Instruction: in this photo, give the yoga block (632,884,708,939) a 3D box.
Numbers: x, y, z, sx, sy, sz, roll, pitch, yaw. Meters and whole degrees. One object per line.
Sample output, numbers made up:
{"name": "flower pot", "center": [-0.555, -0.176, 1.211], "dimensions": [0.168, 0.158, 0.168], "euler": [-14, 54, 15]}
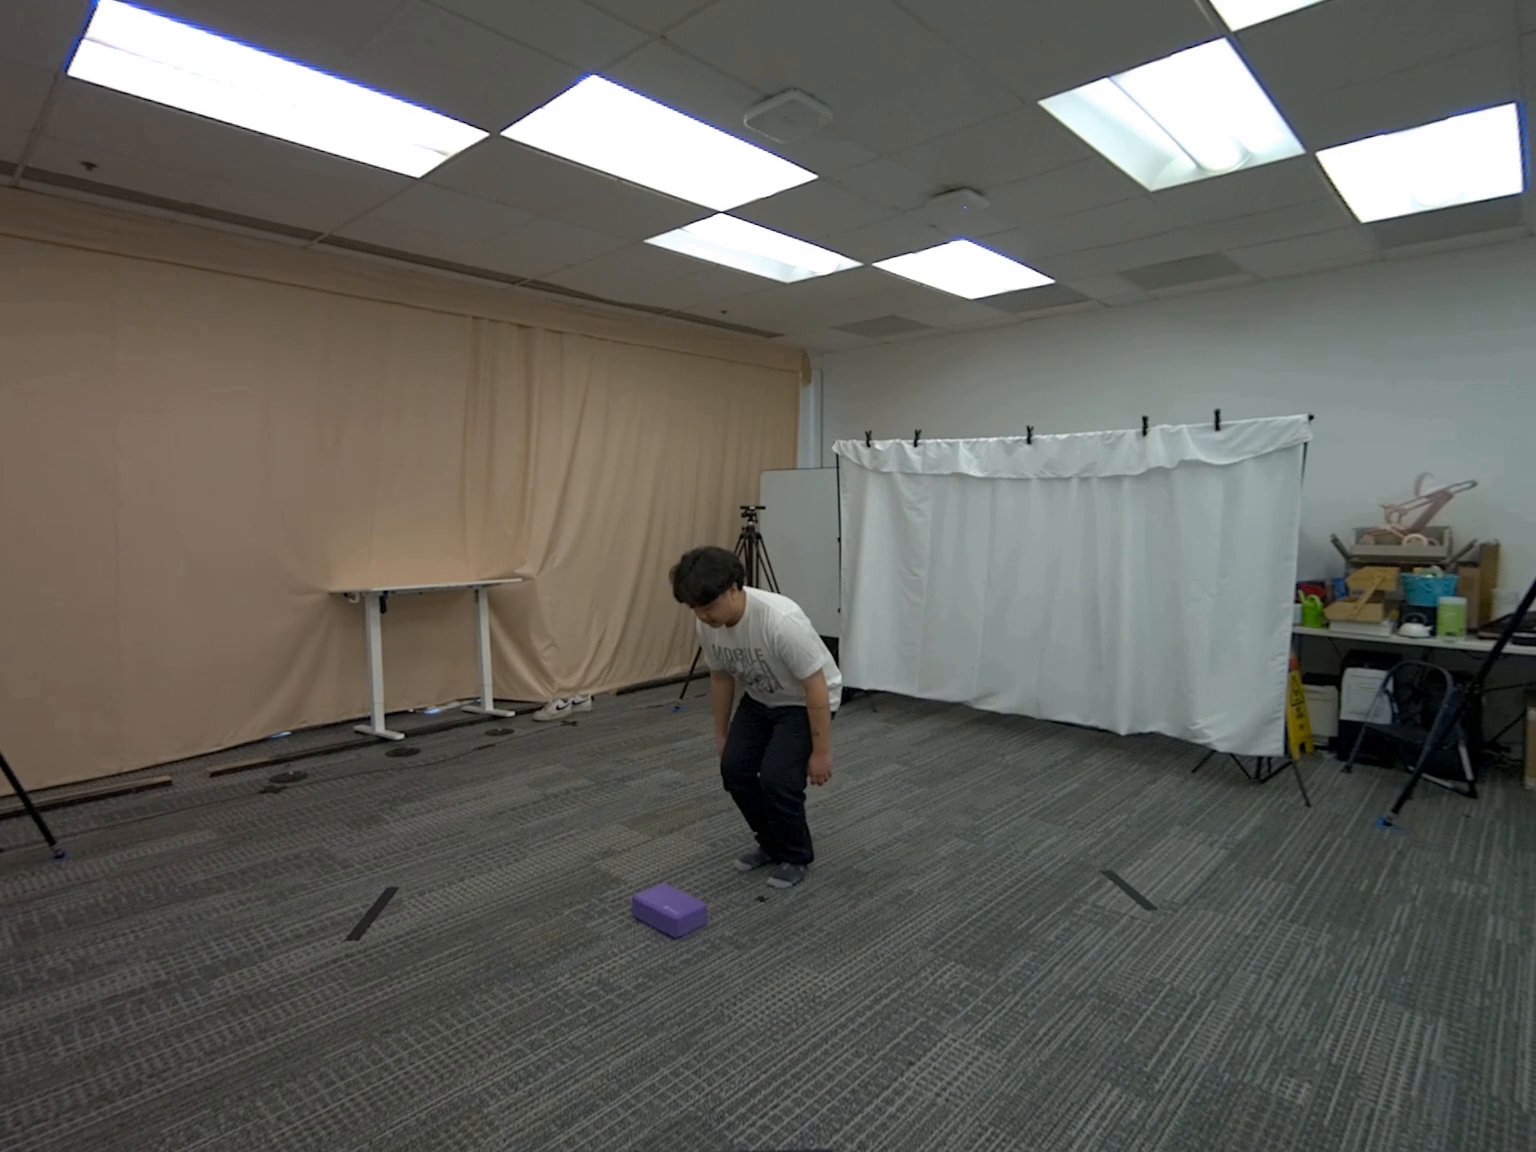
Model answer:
{"name": "yoga block", "center": [-0.331, 1.121, 2.825], "dimensions": [0.237, 0.076, 0.144], "euler": [4, 6, 42]}
